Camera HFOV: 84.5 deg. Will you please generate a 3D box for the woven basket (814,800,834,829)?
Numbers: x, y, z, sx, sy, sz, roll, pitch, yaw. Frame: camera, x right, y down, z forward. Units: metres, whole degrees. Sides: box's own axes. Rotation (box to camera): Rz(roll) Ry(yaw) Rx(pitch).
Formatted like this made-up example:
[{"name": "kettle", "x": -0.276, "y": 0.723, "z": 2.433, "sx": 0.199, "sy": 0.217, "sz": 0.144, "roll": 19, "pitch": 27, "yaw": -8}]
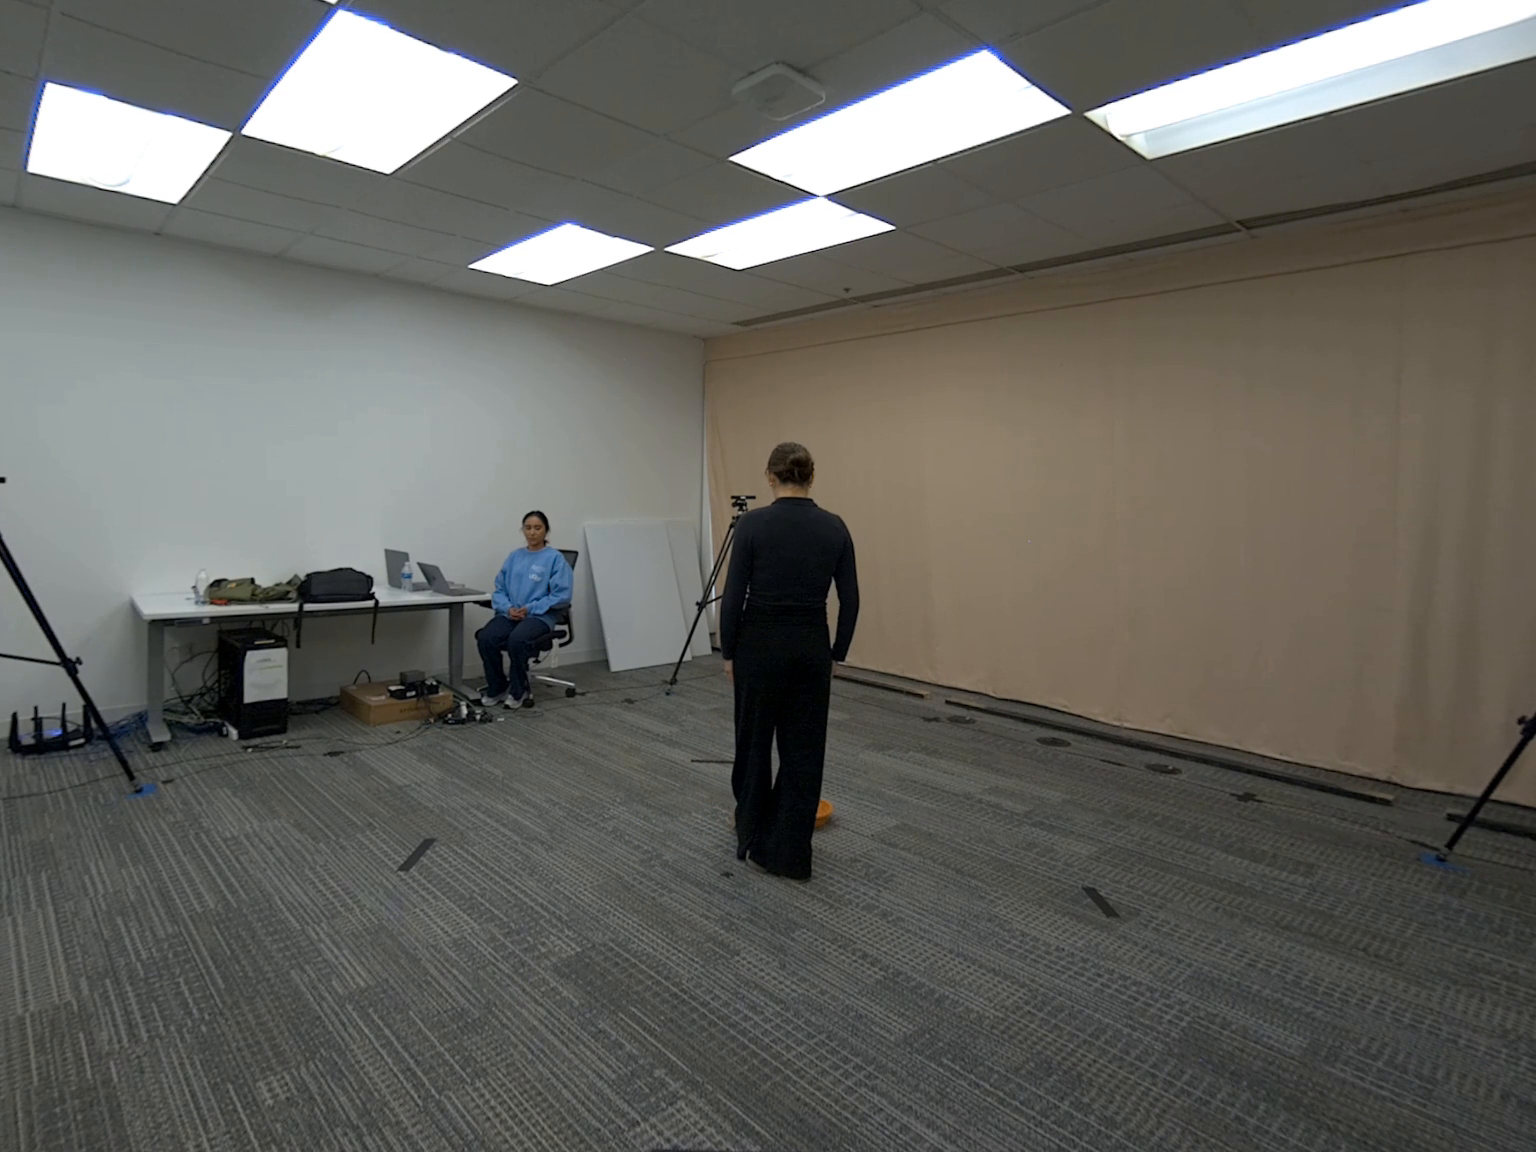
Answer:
[{"name": "woven basket", "x": 0.100, "y": 1.023, "z": 3.634, "sx": 0.349, "sy": 0.073, "sz": 0.254, "roll": 2, "pitch": 7, "yaw": -5}]
